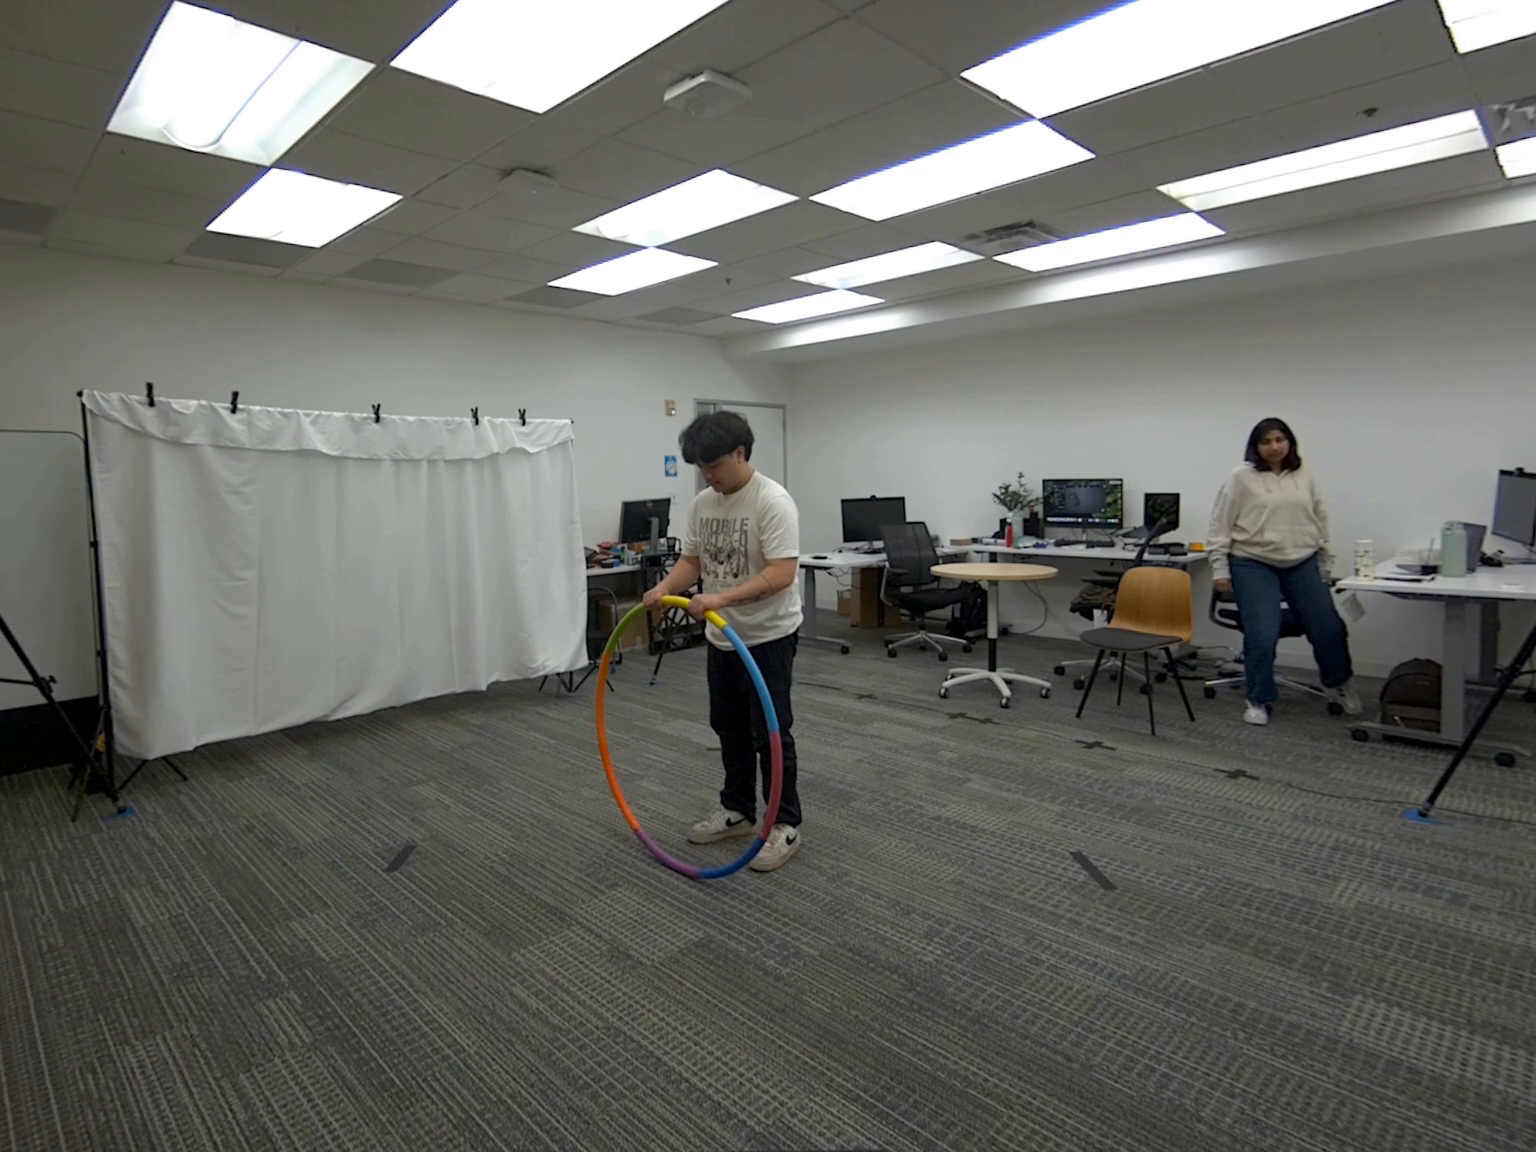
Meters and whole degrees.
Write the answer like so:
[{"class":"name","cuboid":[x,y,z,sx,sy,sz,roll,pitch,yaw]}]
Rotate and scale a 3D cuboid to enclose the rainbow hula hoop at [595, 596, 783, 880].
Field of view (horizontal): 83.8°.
[{"class":"rainbow hula hoop","cuboid":[-0.320,0.565,3.017,0.050,0.982,1.016,-3,5,-43]}]
